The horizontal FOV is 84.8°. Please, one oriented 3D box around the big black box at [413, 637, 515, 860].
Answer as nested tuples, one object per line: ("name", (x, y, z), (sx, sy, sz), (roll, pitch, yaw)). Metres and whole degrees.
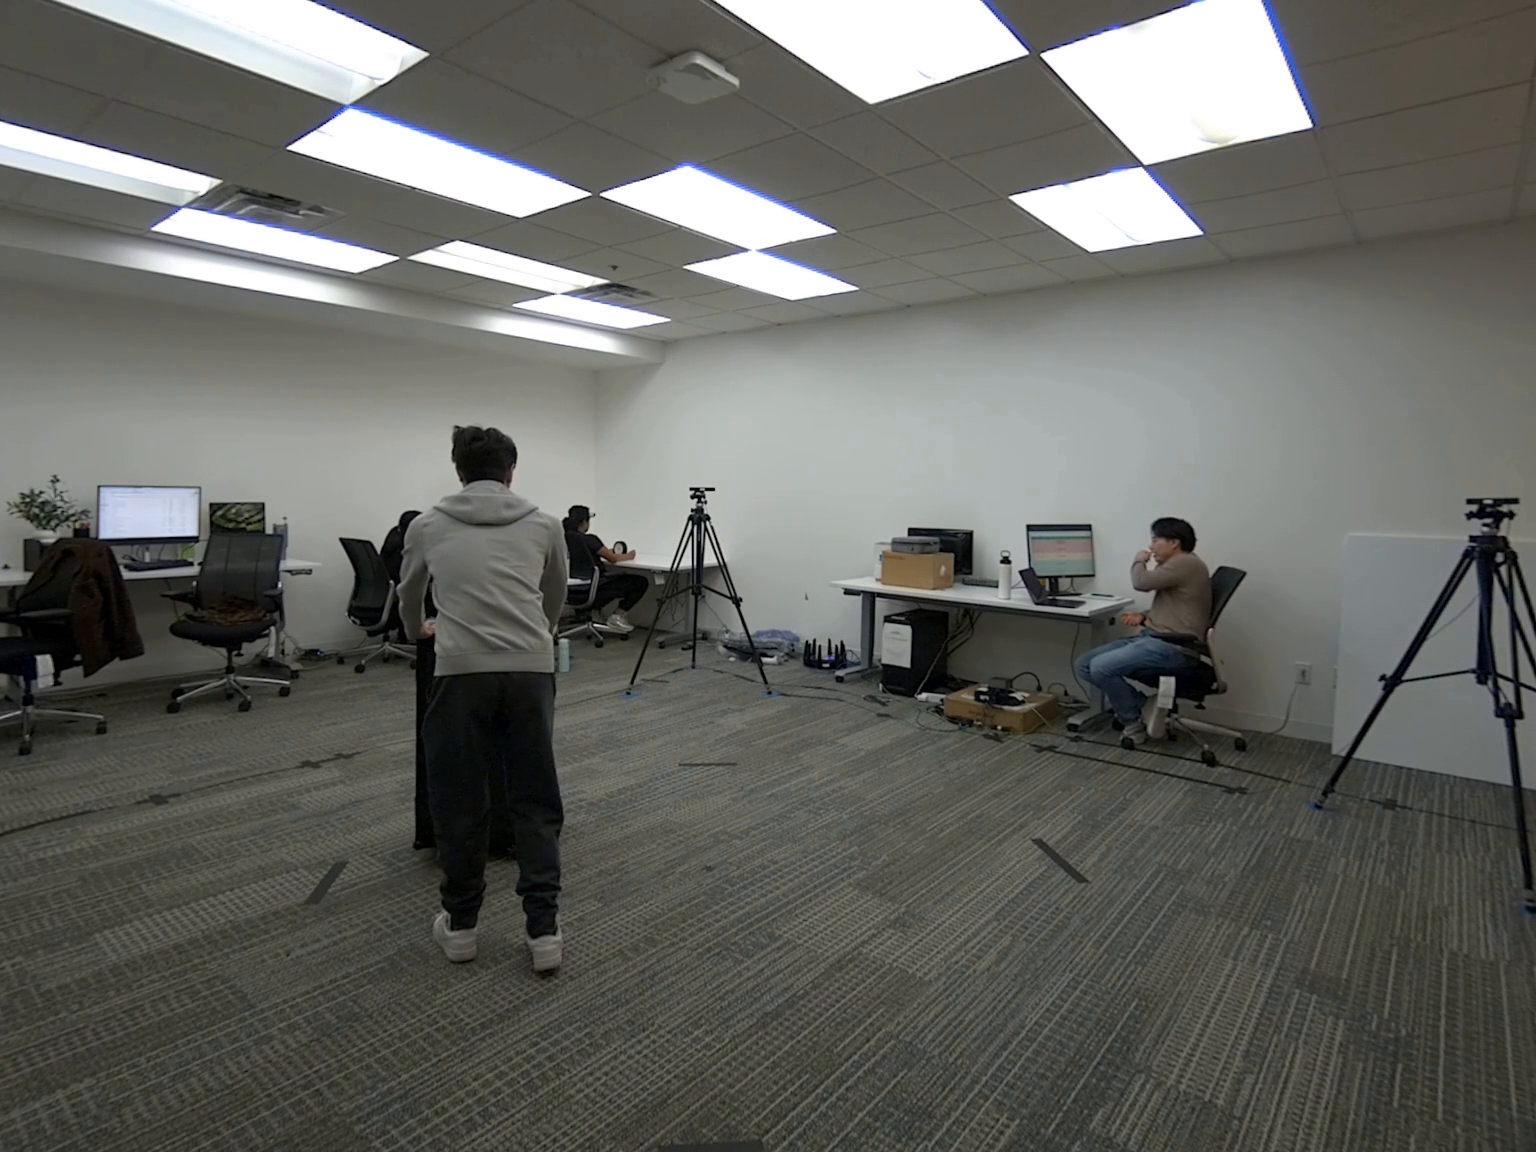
("big black box", (-1.102, 0.607, 3.276), (0.513, 0.861, 0.403), (0, 1, -15))
